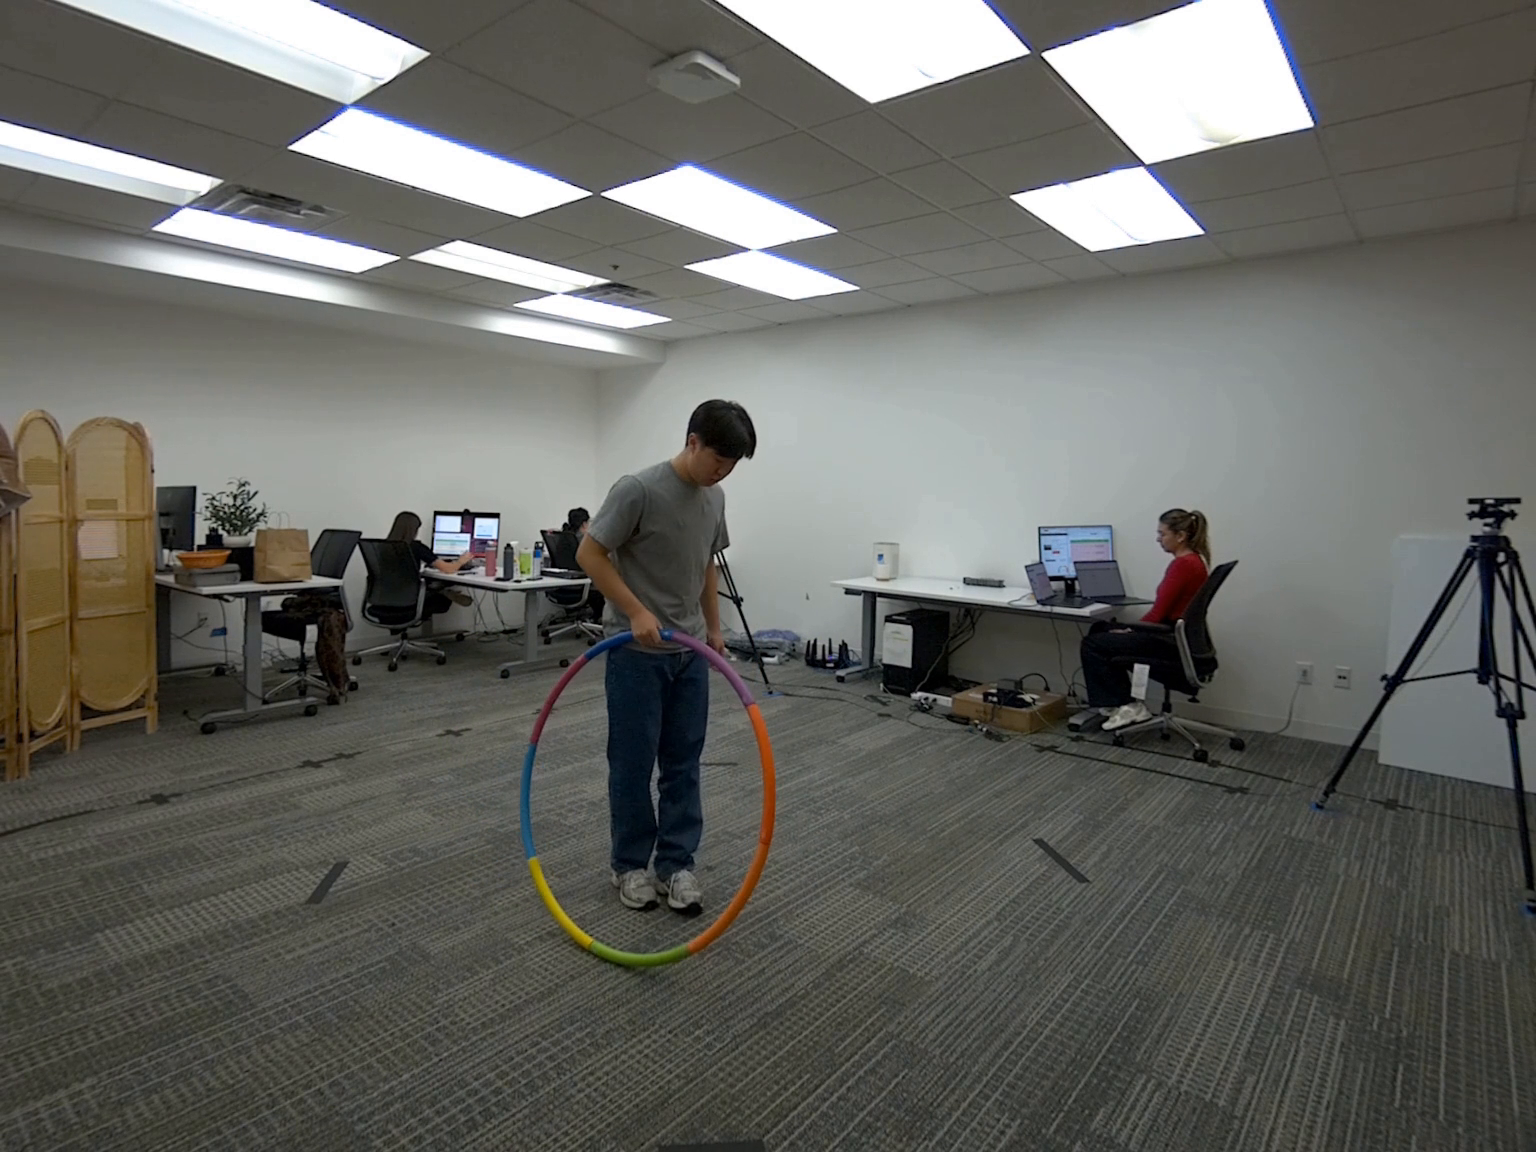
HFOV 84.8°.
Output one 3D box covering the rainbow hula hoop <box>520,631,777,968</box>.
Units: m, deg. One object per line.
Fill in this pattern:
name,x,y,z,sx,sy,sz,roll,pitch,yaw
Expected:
rainbow hula hoop,-0.409,0.643,2.583,1.010,0.986,0.034,4,-12,34
